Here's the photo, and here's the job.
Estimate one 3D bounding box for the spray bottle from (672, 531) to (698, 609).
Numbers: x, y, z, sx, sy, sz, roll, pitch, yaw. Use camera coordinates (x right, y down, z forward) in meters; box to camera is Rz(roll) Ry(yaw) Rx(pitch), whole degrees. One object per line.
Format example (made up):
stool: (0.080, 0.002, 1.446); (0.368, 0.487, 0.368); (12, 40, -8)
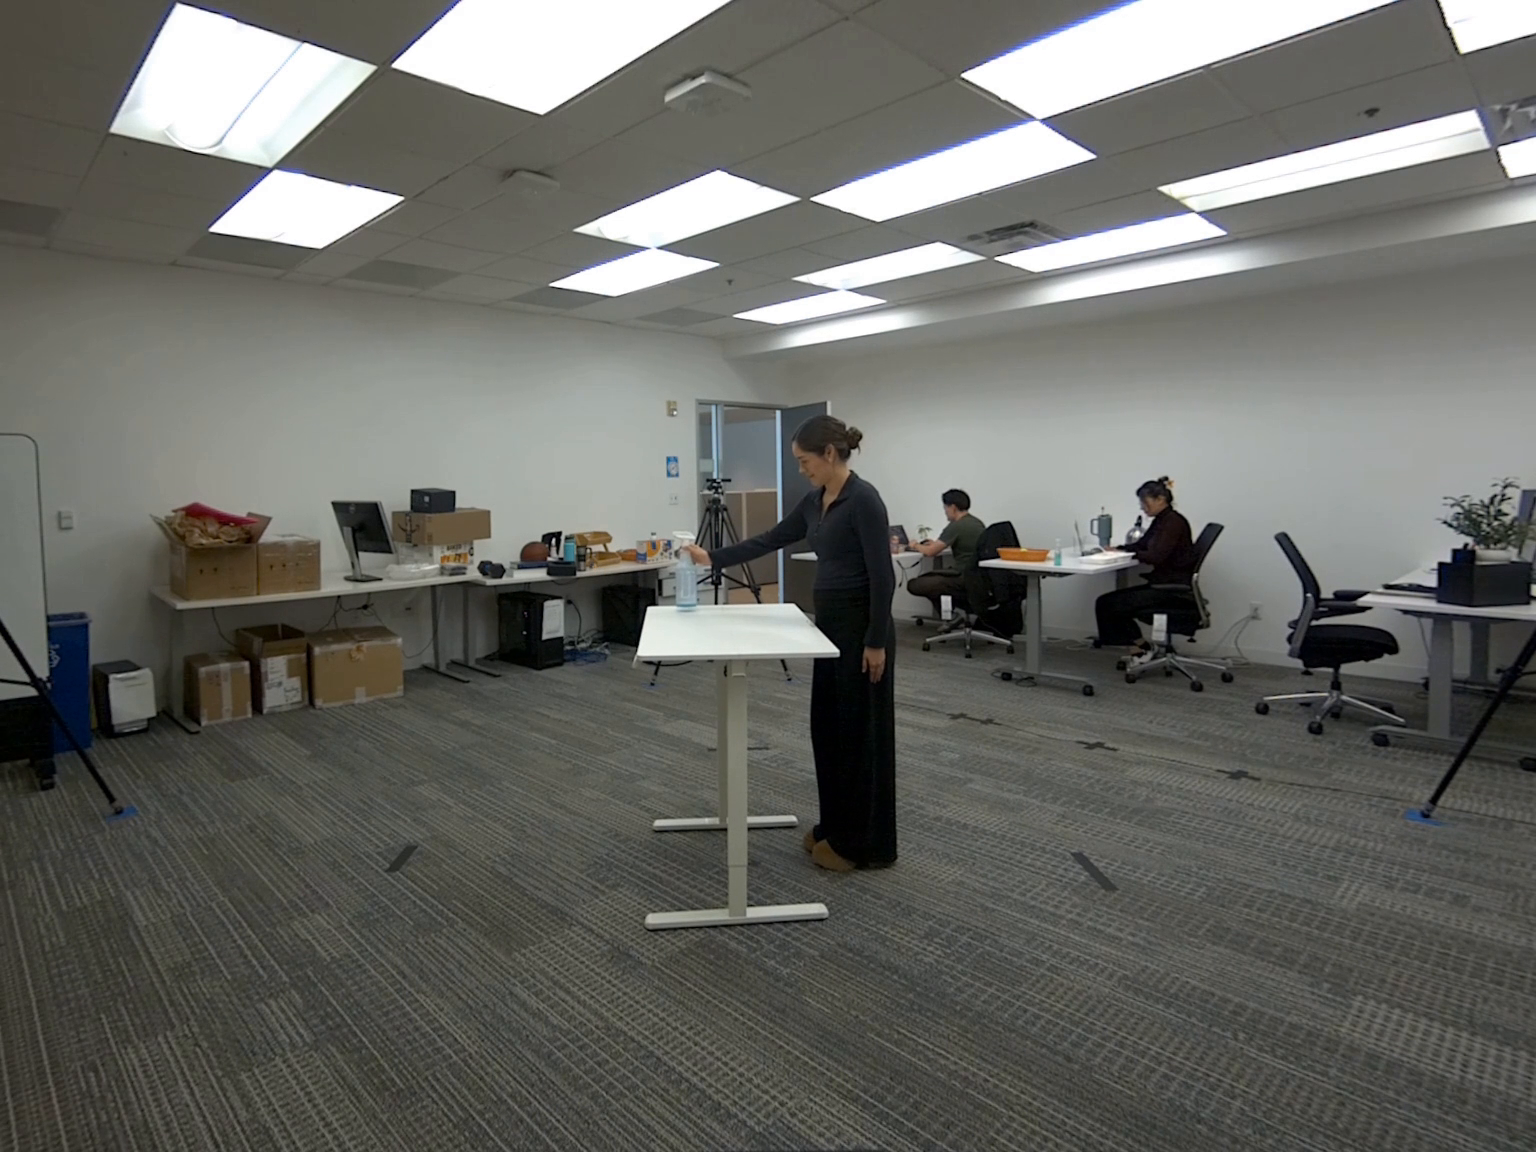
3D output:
spray bottle: (-0.320, -0.027, 3.379); (0.092, 0.297, 0.085); (0, 2, 19)
